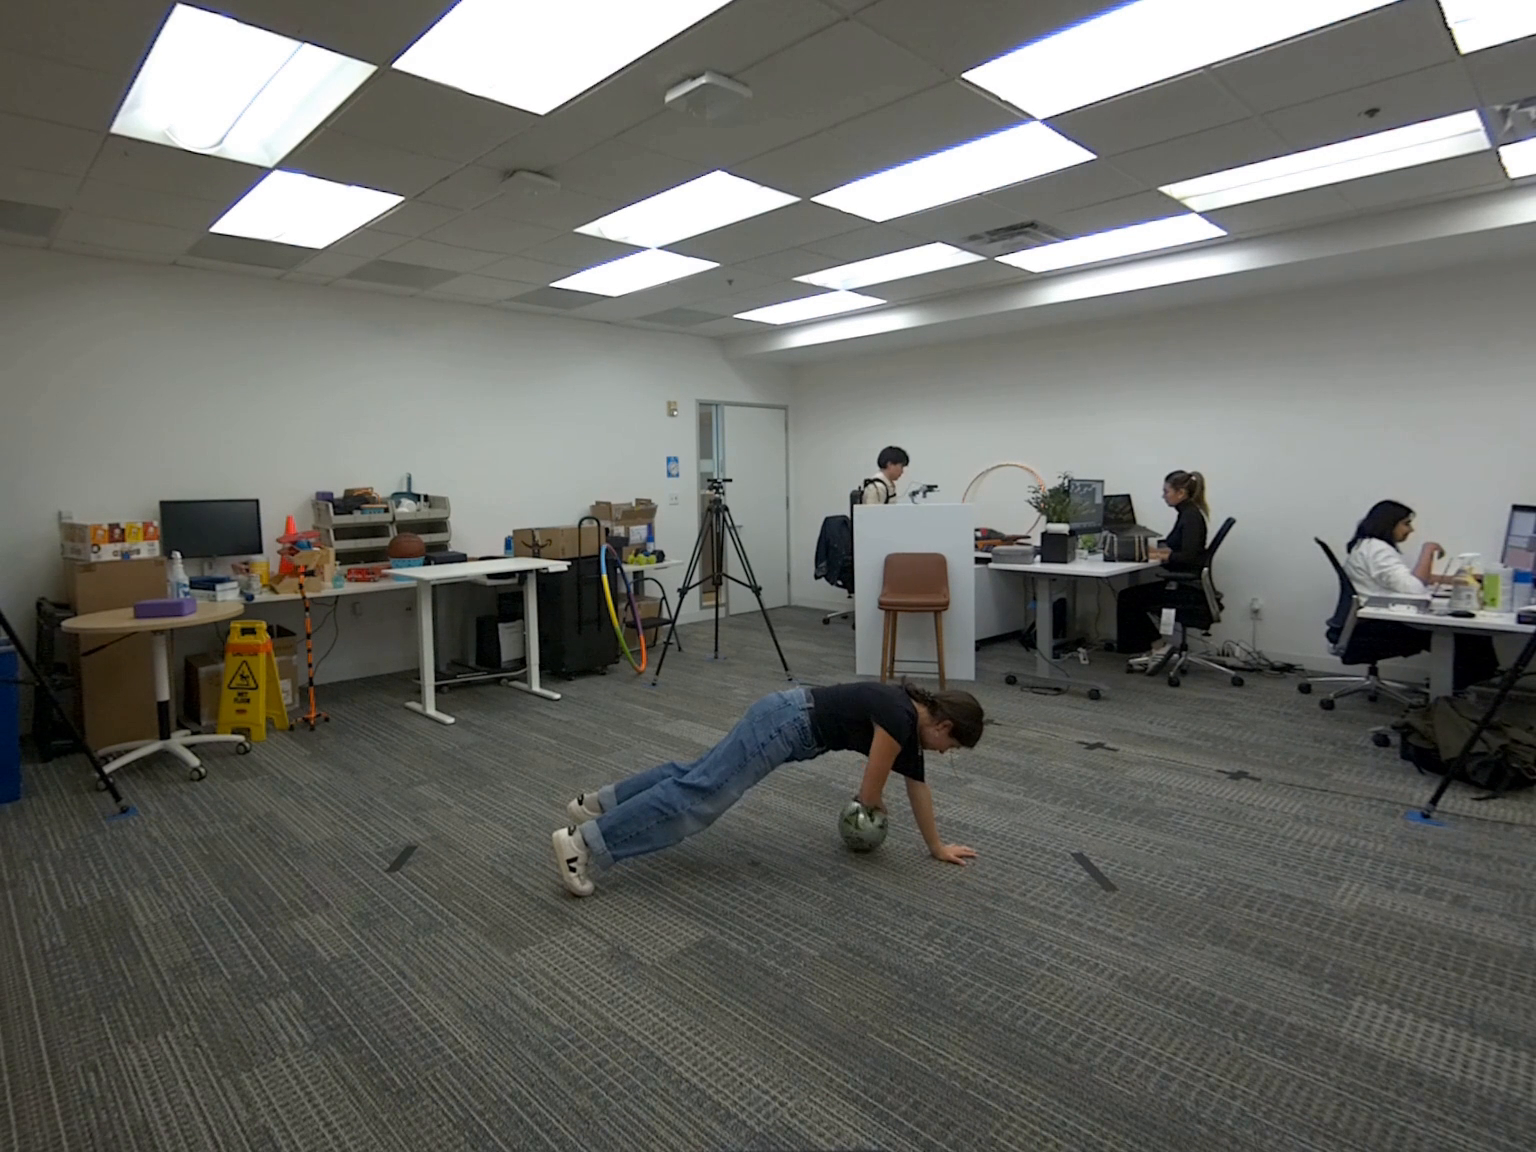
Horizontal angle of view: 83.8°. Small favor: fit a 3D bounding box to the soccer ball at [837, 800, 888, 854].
[{"bbox_3d":[0.355,0.928,3.188,0.187,0.187,0.188,-1,5,-2],"label":"soccer ball"}]
